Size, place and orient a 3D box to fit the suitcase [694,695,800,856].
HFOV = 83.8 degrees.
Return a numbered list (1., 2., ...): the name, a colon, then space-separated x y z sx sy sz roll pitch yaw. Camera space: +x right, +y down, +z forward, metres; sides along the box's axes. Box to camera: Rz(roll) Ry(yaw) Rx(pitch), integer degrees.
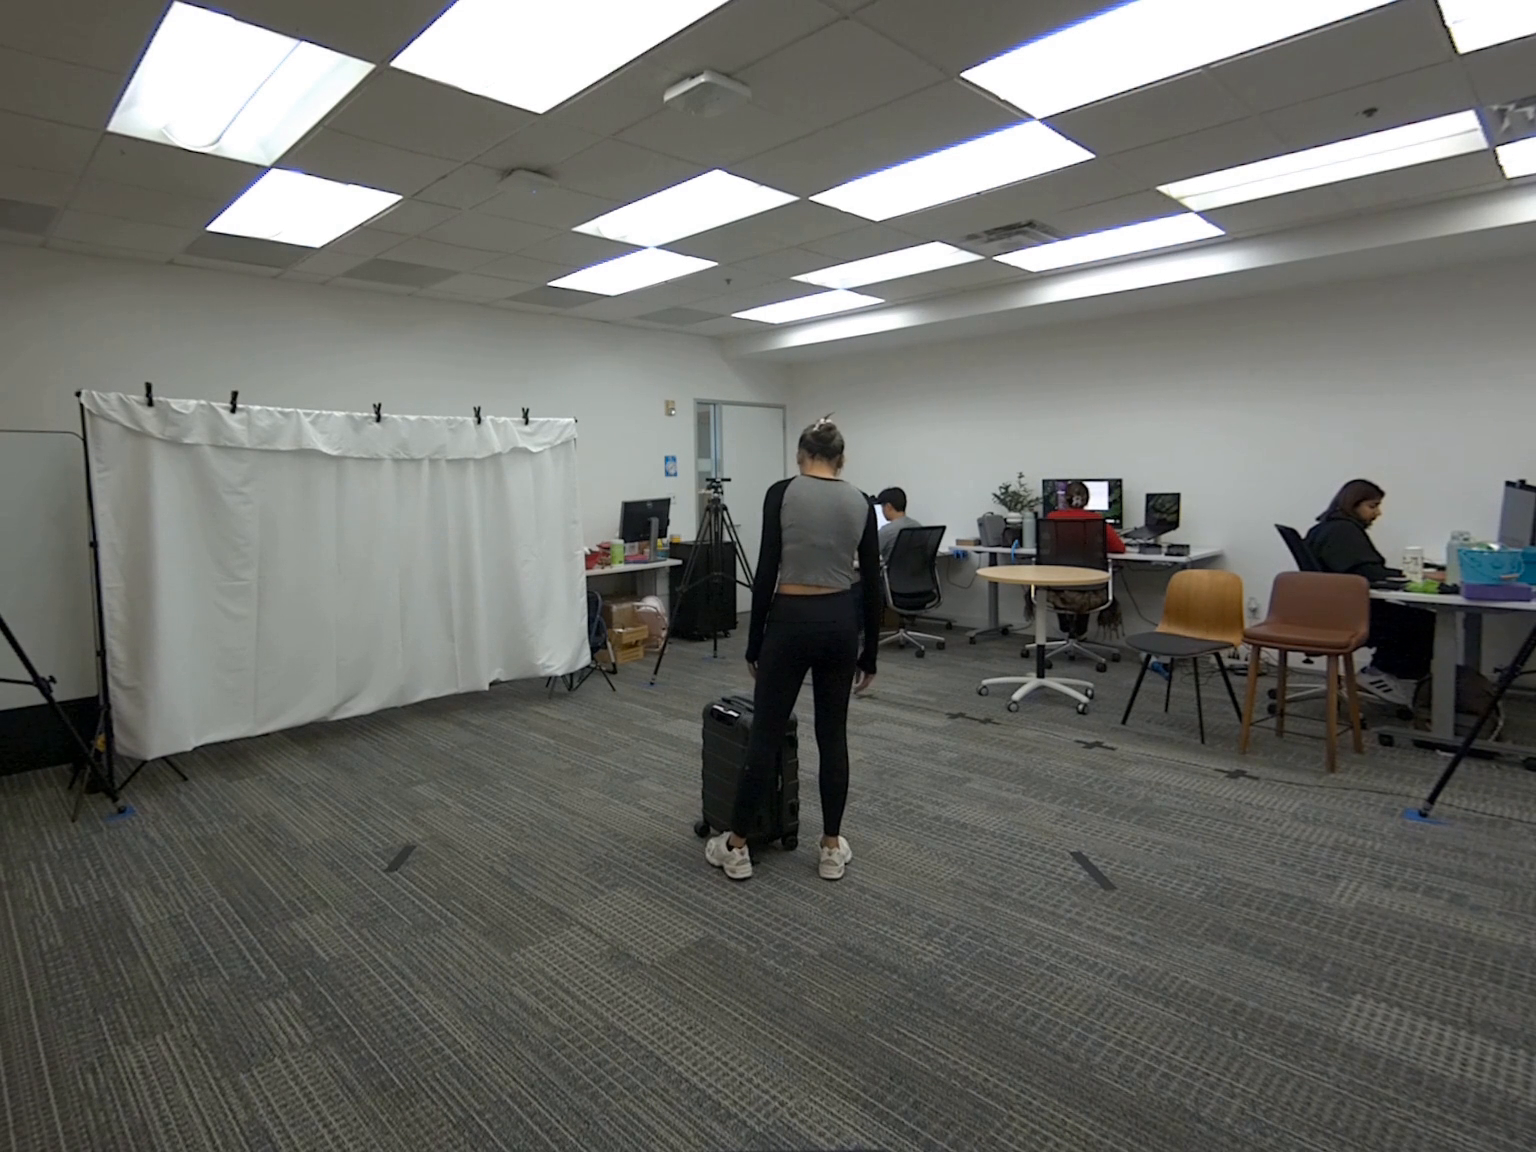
1. suitcase: -0.075 0.748 3.287 0.242 0.548 0.386 -1 4 -35
